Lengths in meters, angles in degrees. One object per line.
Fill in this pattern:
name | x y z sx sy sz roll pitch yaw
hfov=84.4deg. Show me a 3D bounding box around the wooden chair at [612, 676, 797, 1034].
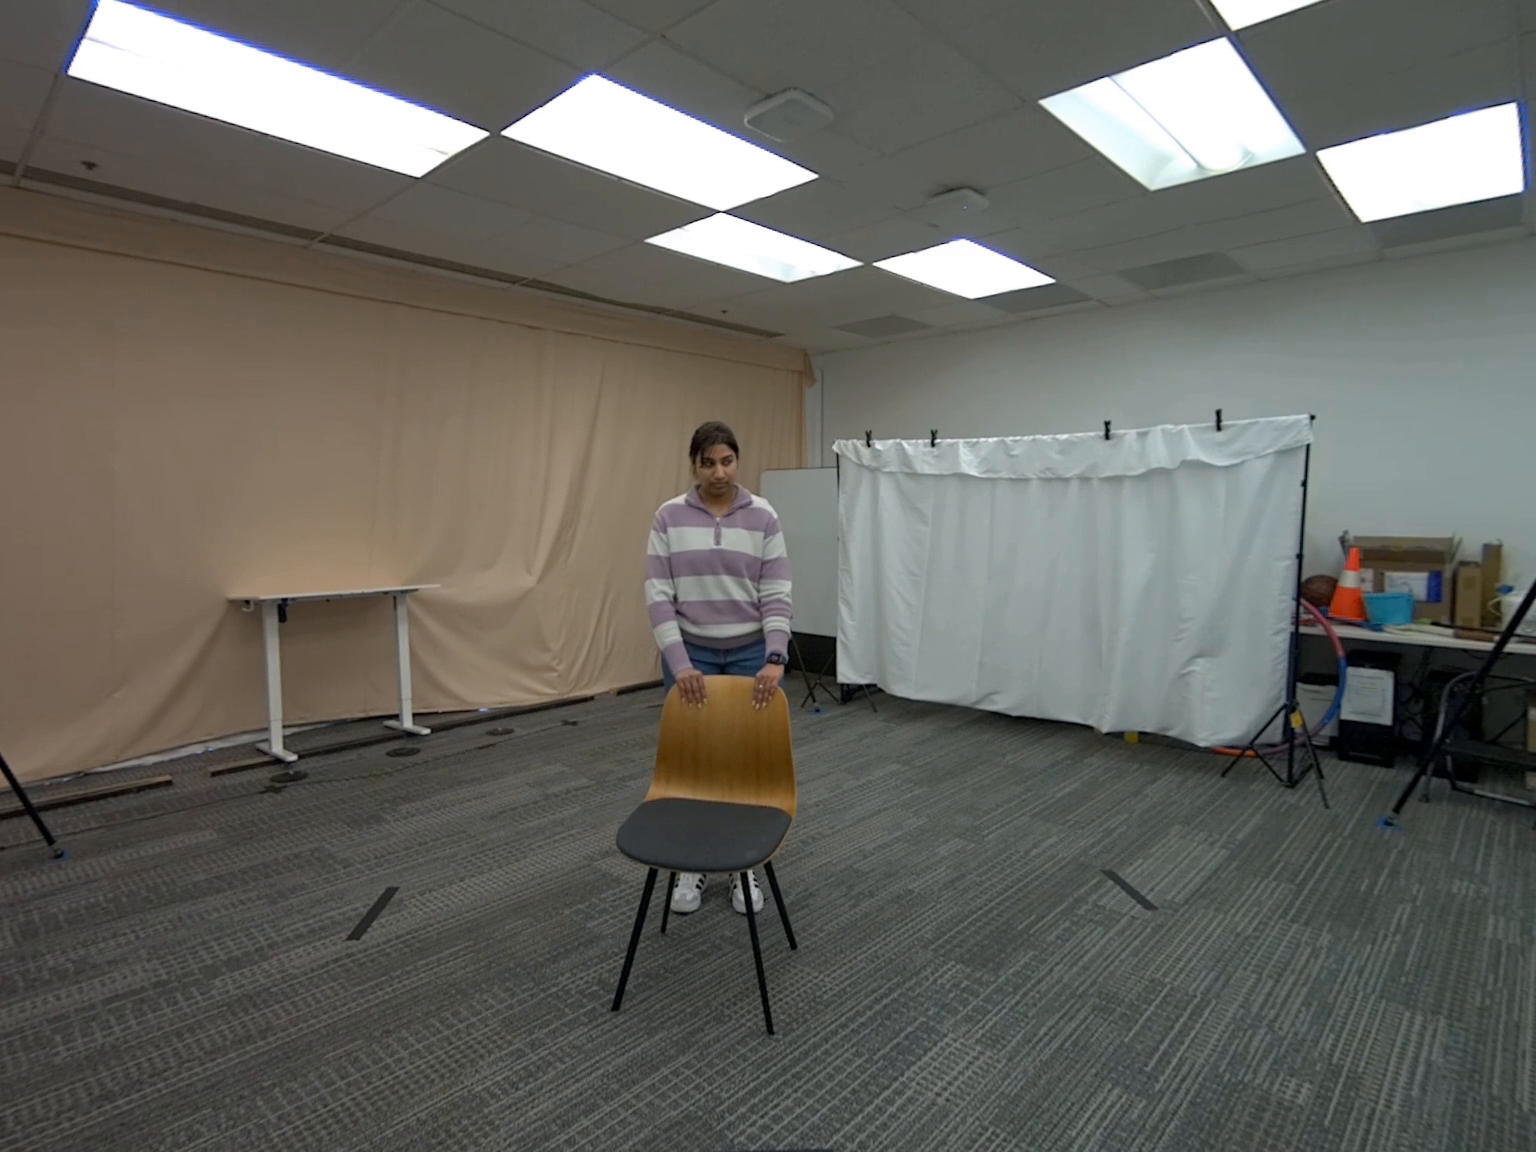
wooden chair | -0.158 0.753 2.449 0.485 0.878 0.515 1 -1 12
